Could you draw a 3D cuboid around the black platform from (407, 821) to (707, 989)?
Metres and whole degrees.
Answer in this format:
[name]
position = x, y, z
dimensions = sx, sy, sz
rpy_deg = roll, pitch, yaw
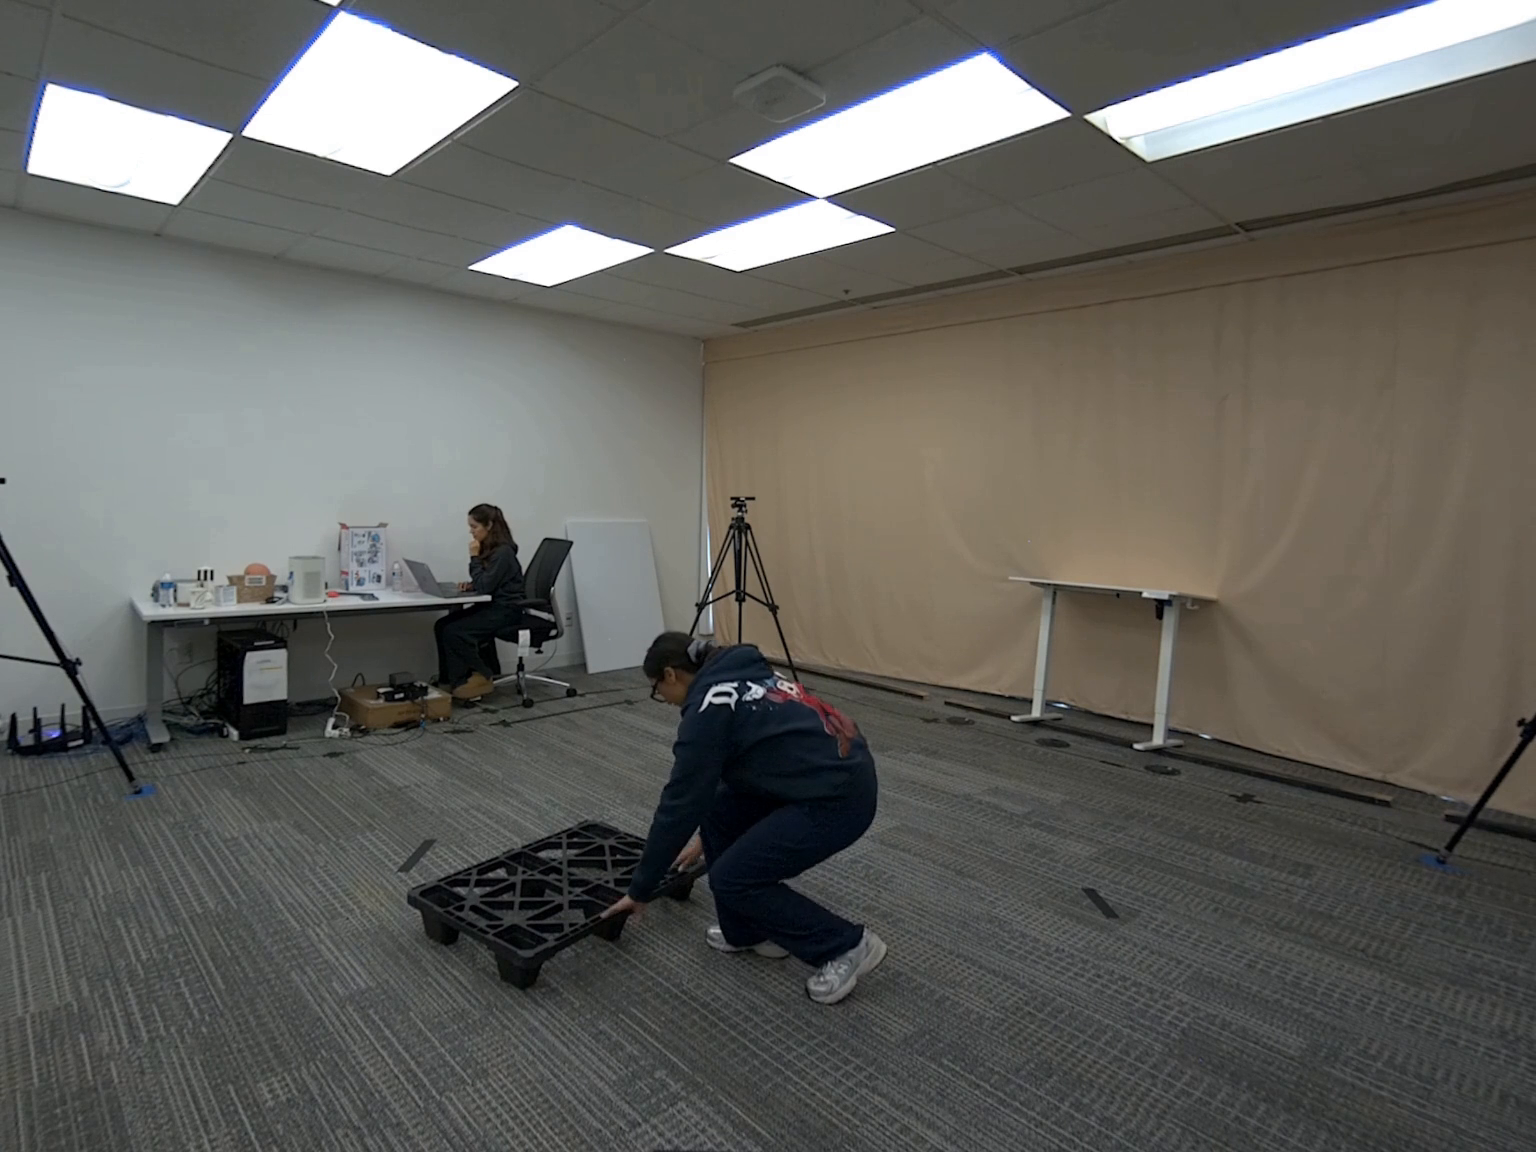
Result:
[black platform]
position = -0.667, 1.058, 2.782
dimensions = 0.620, 0.143, 0.789
rpy_deg = 5, 7, 36
